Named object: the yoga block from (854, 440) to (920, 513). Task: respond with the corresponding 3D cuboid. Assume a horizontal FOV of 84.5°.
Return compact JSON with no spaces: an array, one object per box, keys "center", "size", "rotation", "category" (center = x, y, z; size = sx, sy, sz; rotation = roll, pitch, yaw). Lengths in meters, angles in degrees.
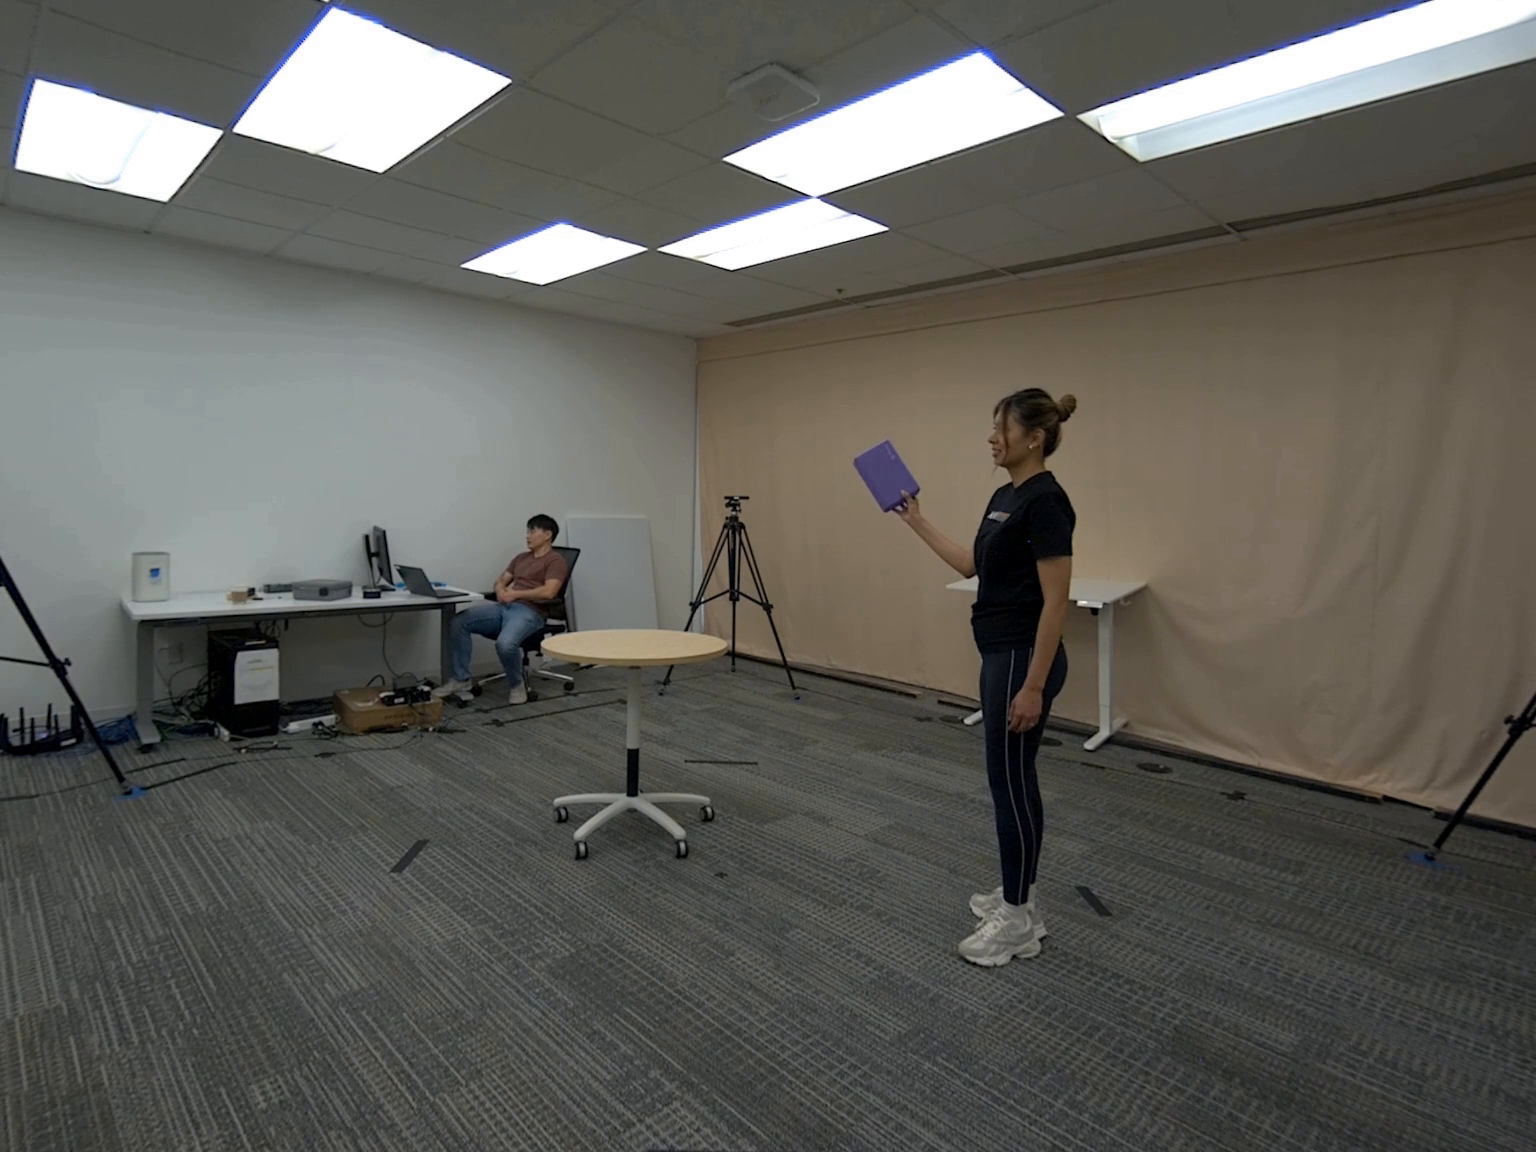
[{"center":[0.430,-0.365,3.078],"size":[0.149,0.232,0.075],"rotation":[-29,-10,-3],"category":"yoga block"}]
